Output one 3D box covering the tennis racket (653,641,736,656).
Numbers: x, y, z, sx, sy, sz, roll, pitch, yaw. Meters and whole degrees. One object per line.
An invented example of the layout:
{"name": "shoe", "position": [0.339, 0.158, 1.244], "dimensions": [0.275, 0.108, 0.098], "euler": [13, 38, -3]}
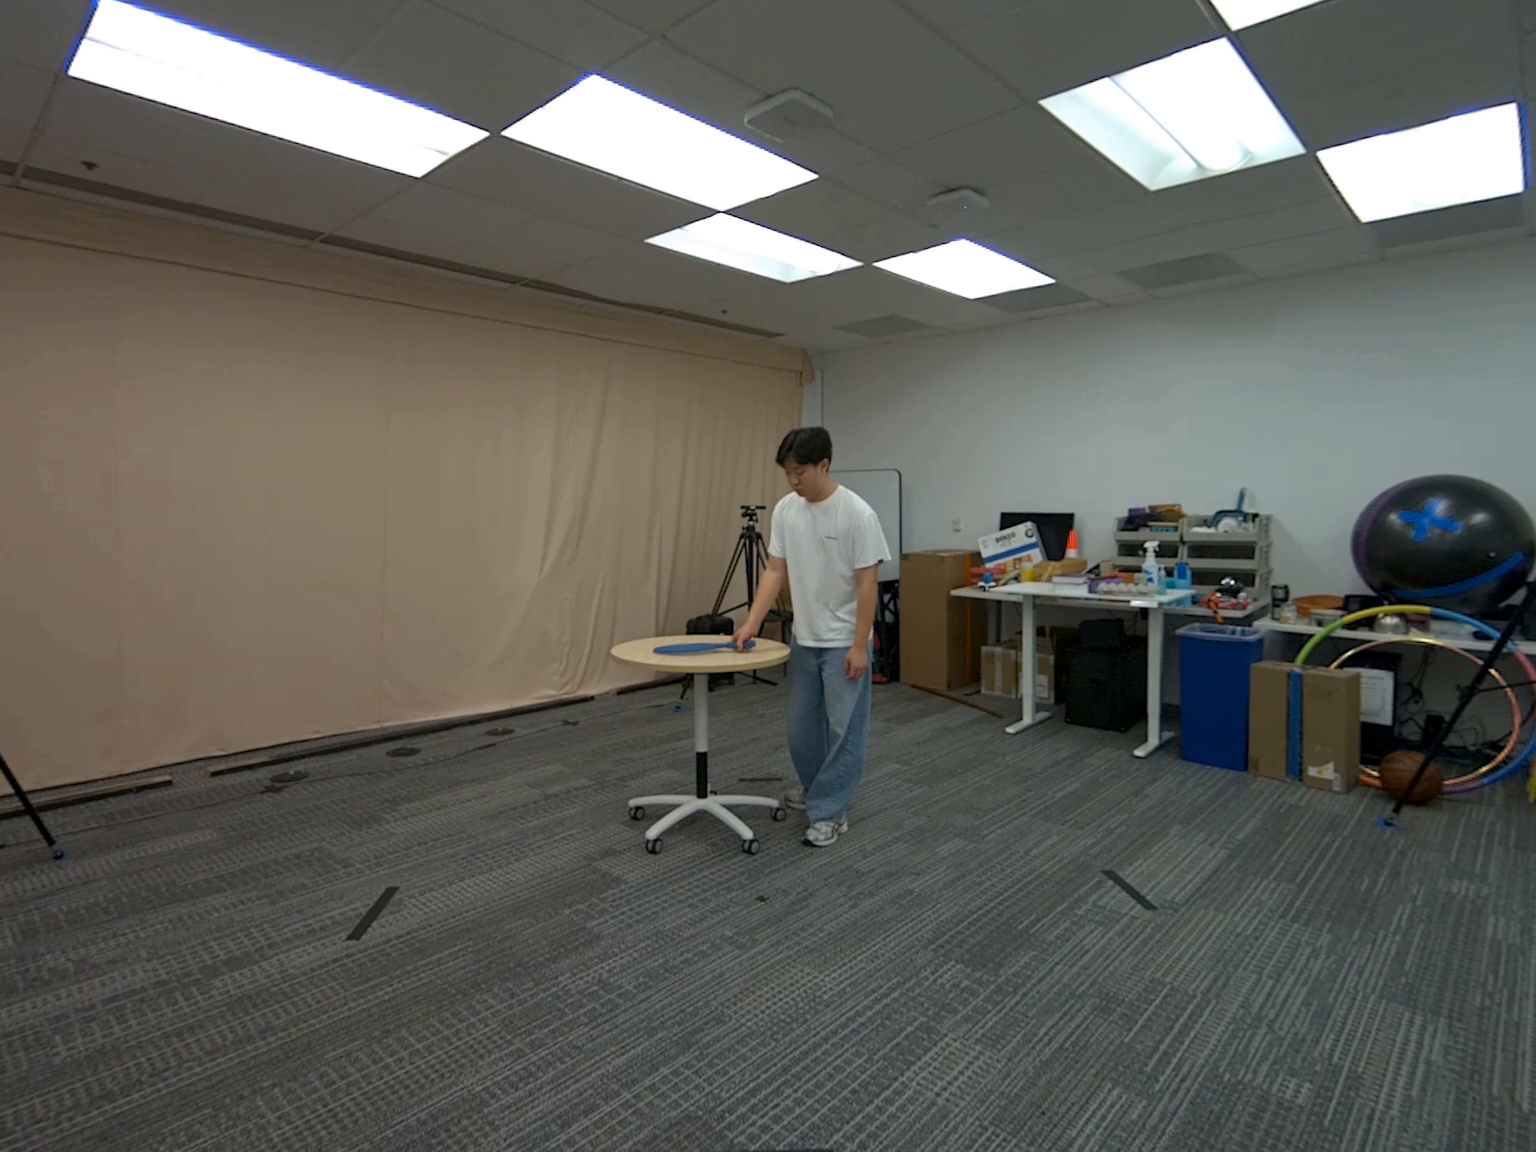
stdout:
{"name": "tennis racket", "position": [-0.271, 0.297, 3.526], "dimensions": [0.438, 0.032, 0.212], "euler": [-4, 3, 10]}
